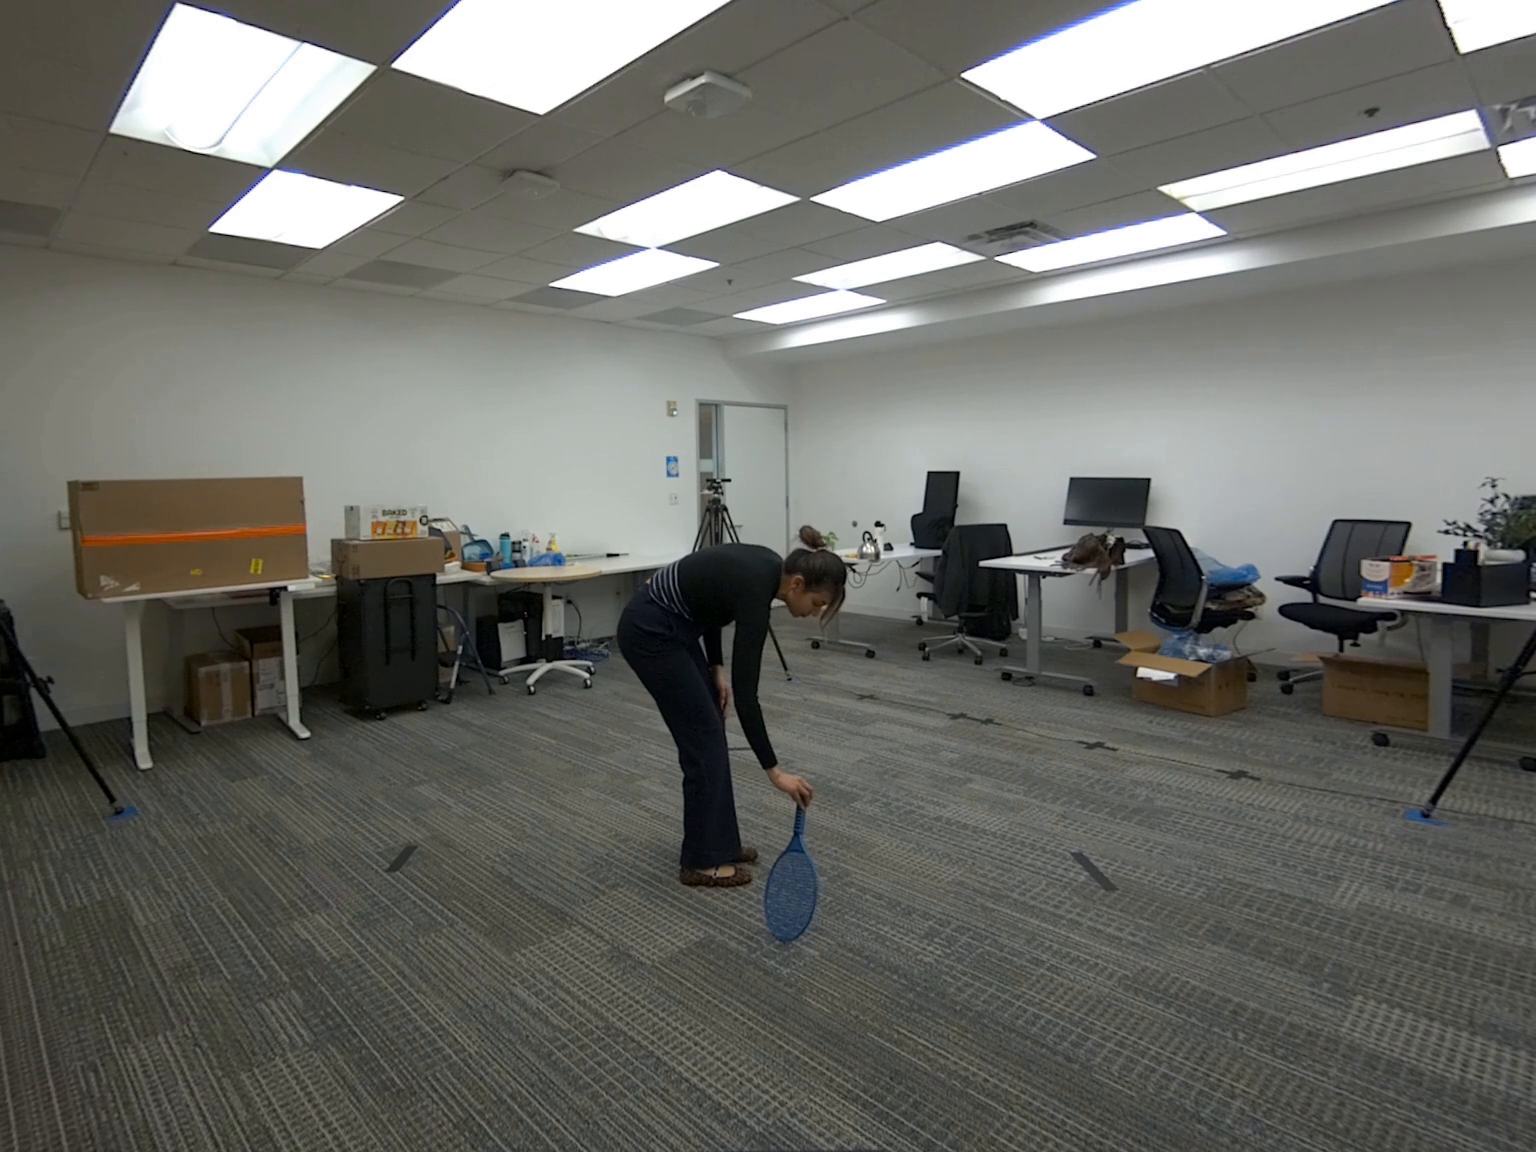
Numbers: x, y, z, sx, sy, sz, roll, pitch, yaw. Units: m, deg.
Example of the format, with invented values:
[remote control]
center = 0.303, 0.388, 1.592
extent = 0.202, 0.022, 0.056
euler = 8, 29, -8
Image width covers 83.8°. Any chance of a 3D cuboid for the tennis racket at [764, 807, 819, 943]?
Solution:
[tennis racket]
center = 0.081, 0.904, 2.664
extent = 0.218, 0.440, 0.030
euler = -17, -35, 43
